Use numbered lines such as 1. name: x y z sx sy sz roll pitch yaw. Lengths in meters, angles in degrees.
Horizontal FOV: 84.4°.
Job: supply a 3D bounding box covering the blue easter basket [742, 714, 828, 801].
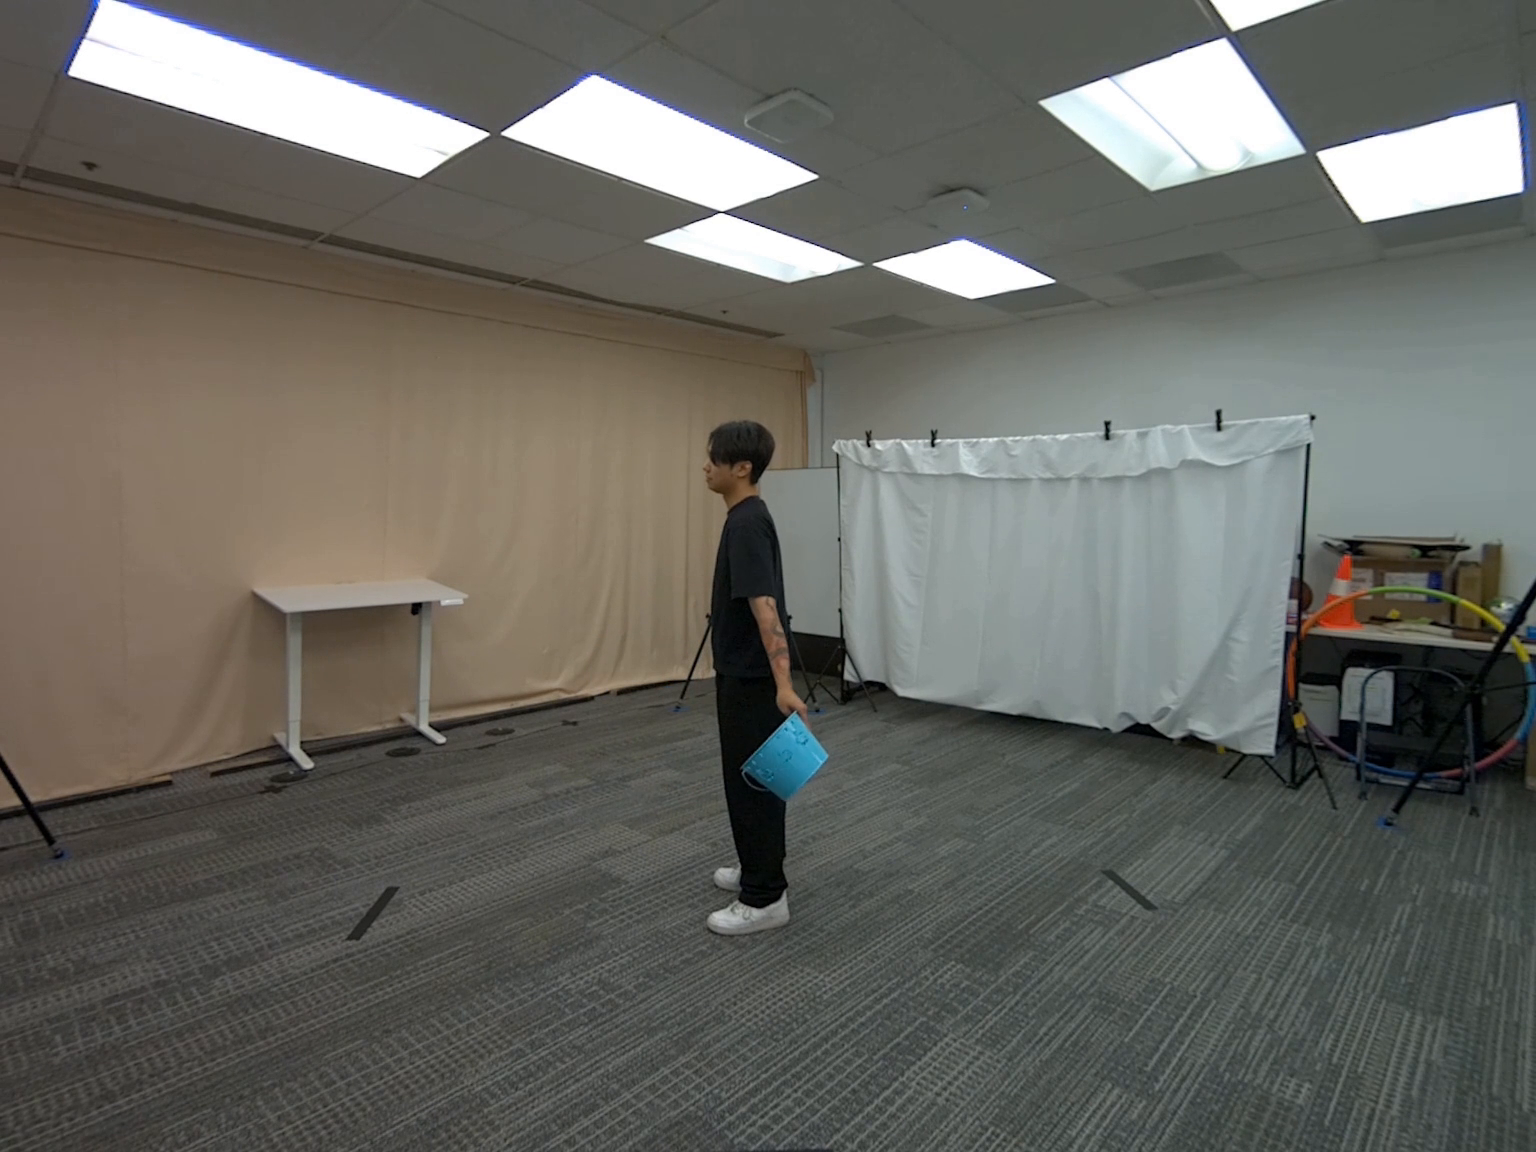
1. blue easter basket: 0.048 0.525 2.407 0.158 0.244 0.239 46 16 10
